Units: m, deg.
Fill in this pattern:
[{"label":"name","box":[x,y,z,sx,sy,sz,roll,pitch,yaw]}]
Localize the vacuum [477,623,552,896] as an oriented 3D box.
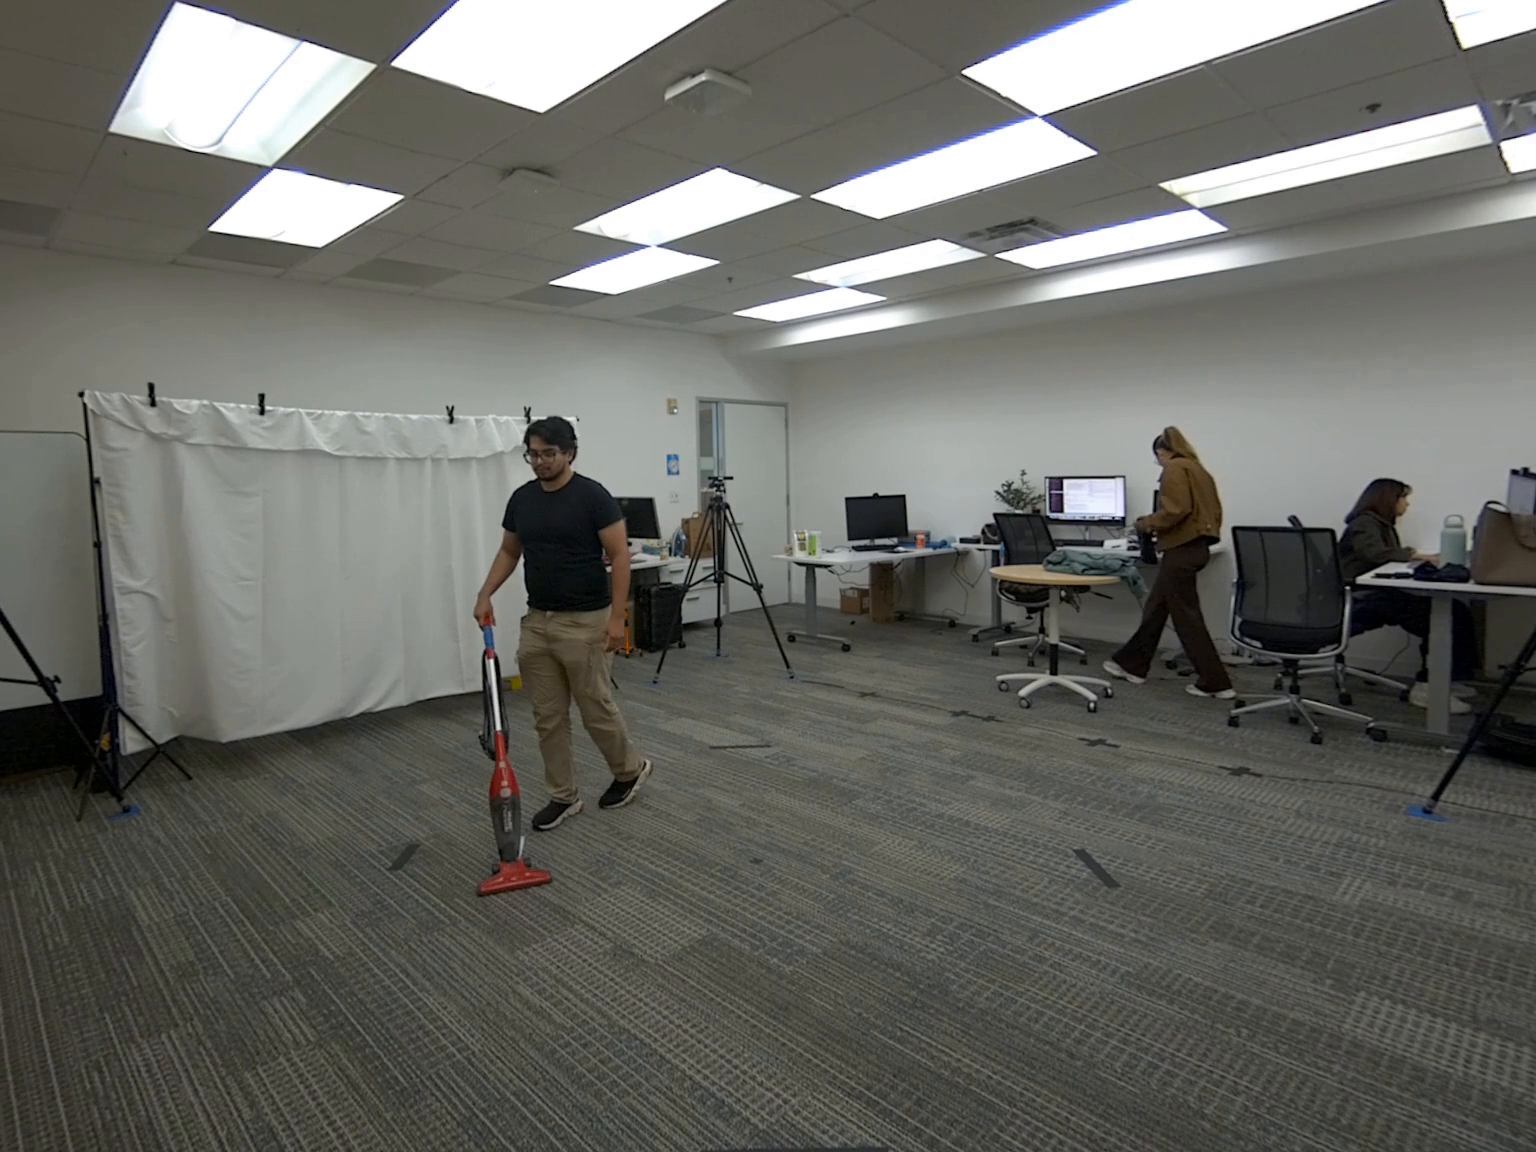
[{"label":"vacuum","box":[-1.024,0.617,3.246,0.248,1.080,0.142,-5,-31,-21]}]
